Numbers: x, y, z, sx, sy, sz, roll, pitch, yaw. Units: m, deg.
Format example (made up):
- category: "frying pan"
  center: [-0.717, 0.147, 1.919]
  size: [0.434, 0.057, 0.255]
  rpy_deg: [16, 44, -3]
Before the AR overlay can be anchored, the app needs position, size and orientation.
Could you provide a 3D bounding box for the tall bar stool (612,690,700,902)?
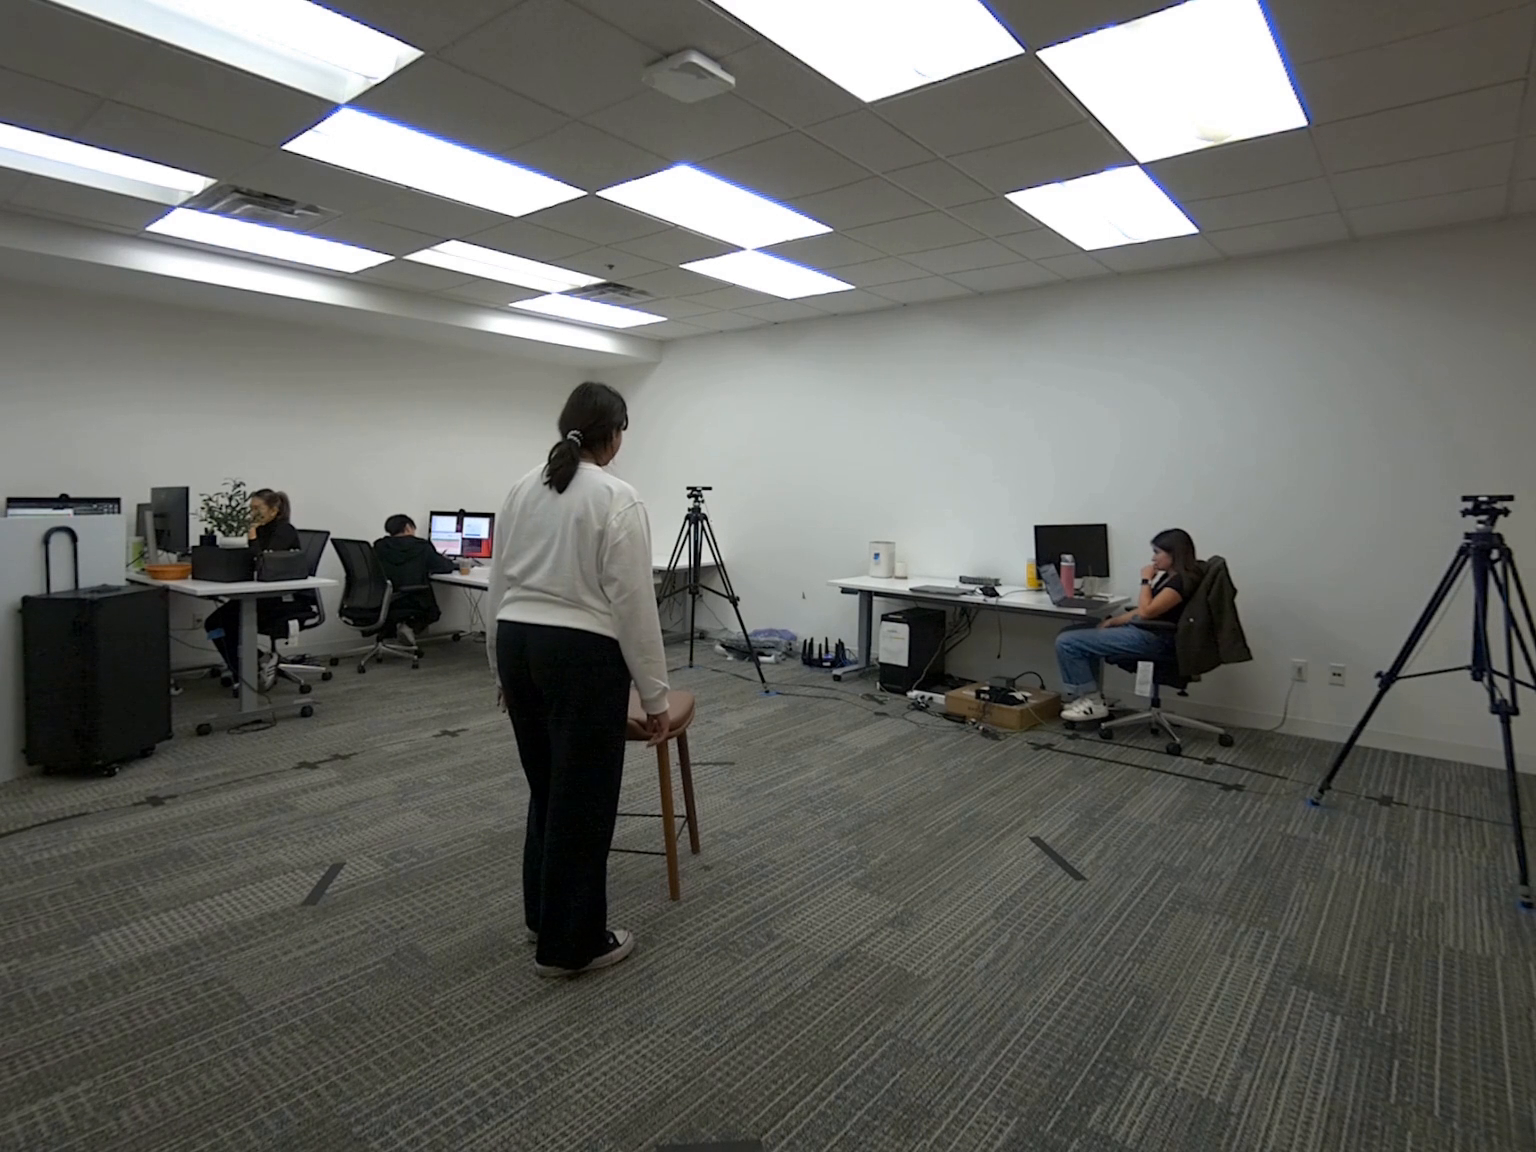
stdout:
- category: "tall bar stool"
  center: [-0.499, 0.632, 3.065]
  size: [0.472, 0.887, 0.453]
  rpy_deg: [0, 3, 9]
